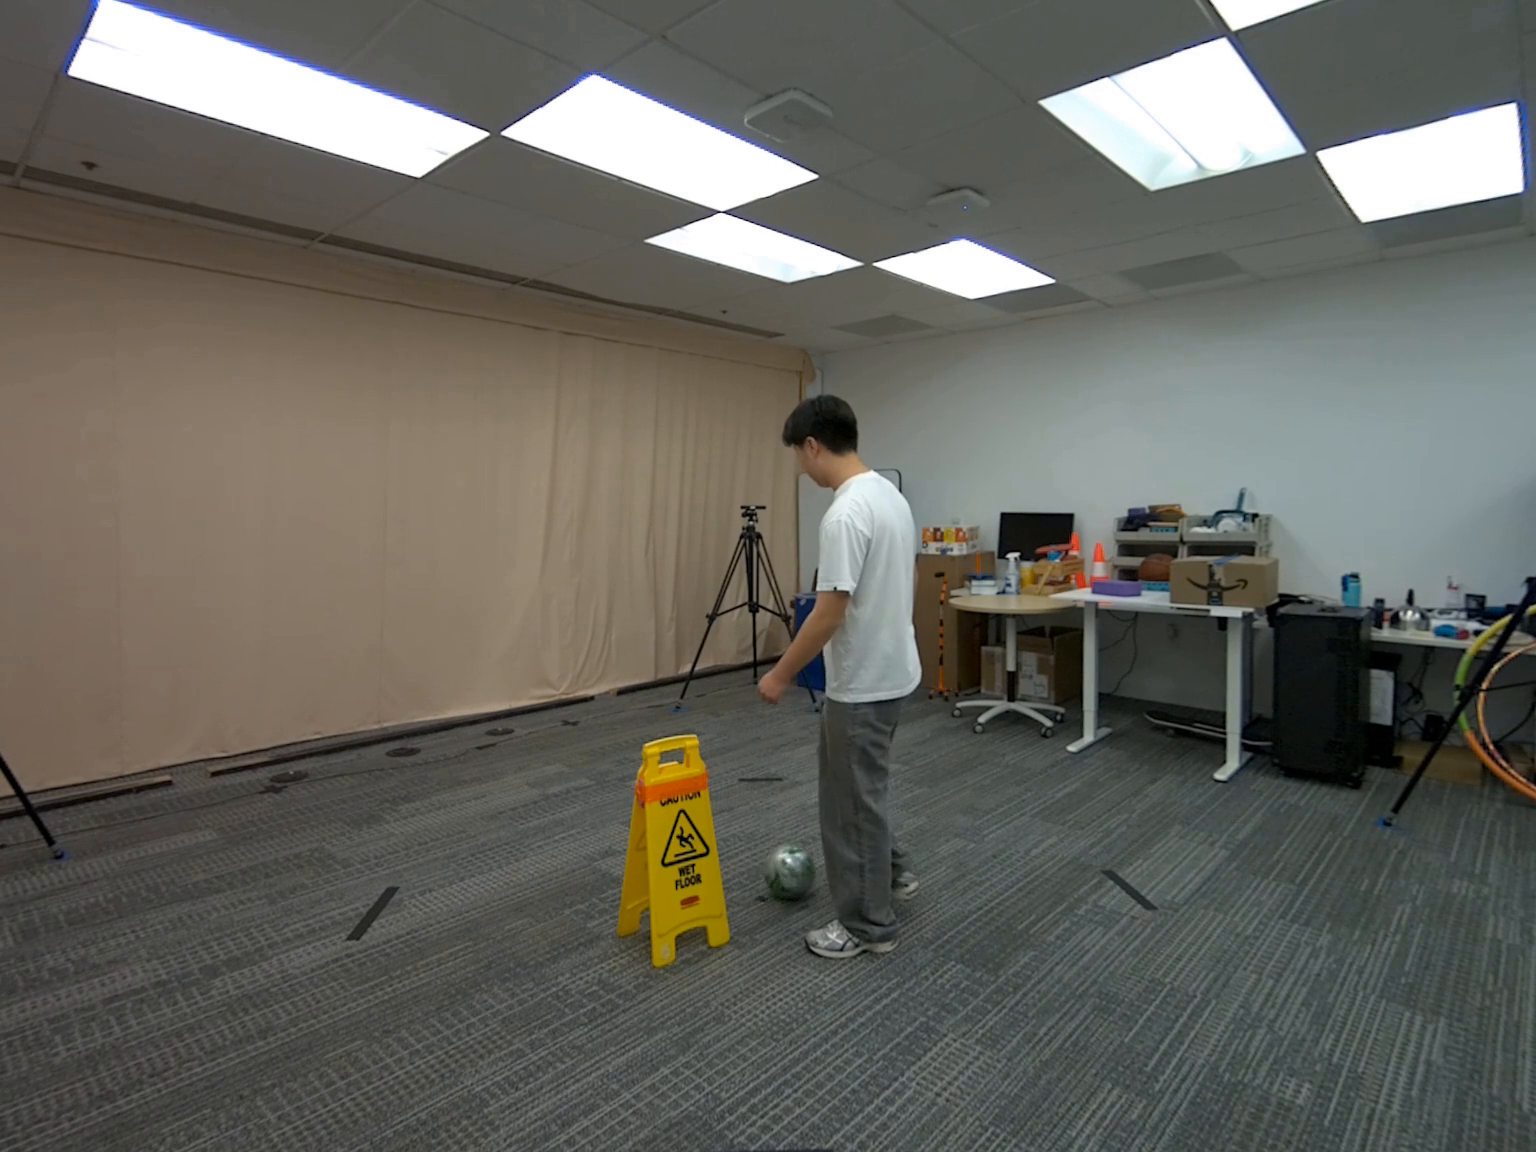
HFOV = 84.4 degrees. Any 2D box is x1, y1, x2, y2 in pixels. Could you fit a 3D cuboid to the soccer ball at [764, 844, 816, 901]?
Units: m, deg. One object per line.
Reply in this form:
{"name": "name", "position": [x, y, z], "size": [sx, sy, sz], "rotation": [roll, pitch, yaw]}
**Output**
{"name": "soccer ball", "position": [0.069, 1.049, 2.993], "size": [0.187, 0.187, 0.188], "rotation": [0, 4, -2]}
